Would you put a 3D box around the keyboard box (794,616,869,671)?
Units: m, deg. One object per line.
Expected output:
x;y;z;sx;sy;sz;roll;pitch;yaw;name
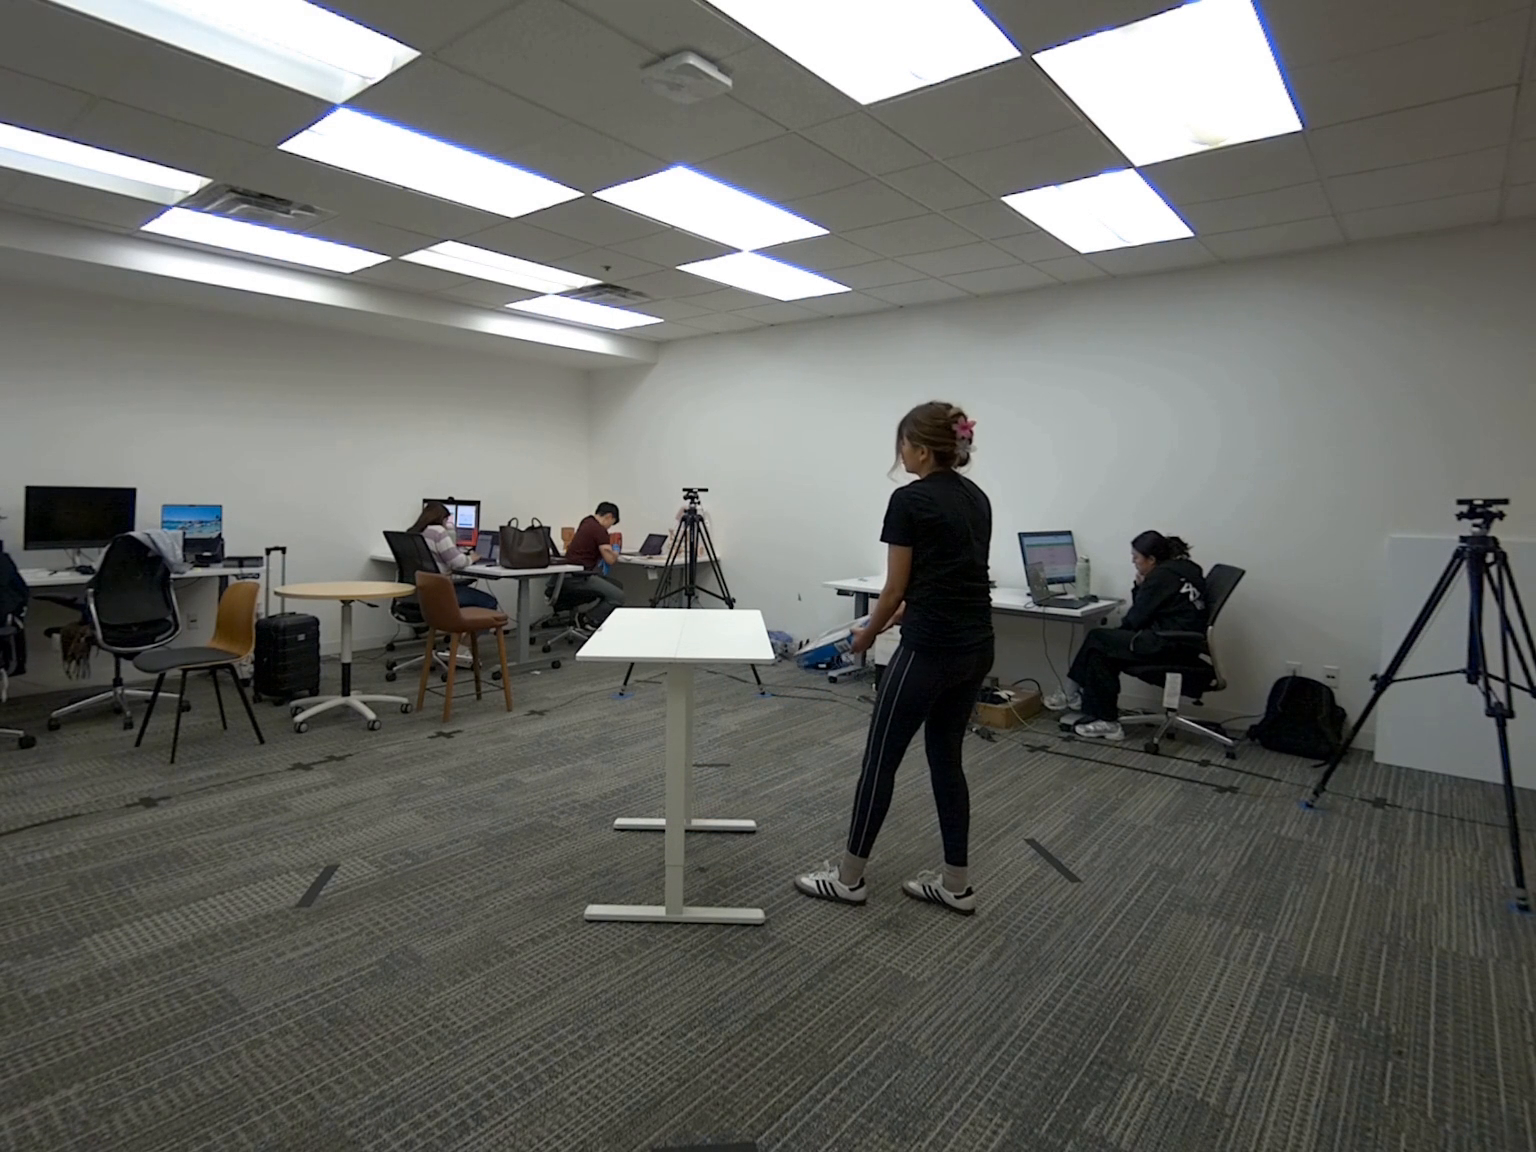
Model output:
0.254;0.250;3.308;0.174;0.059;0.441;-36;3;-29;keyboard box
